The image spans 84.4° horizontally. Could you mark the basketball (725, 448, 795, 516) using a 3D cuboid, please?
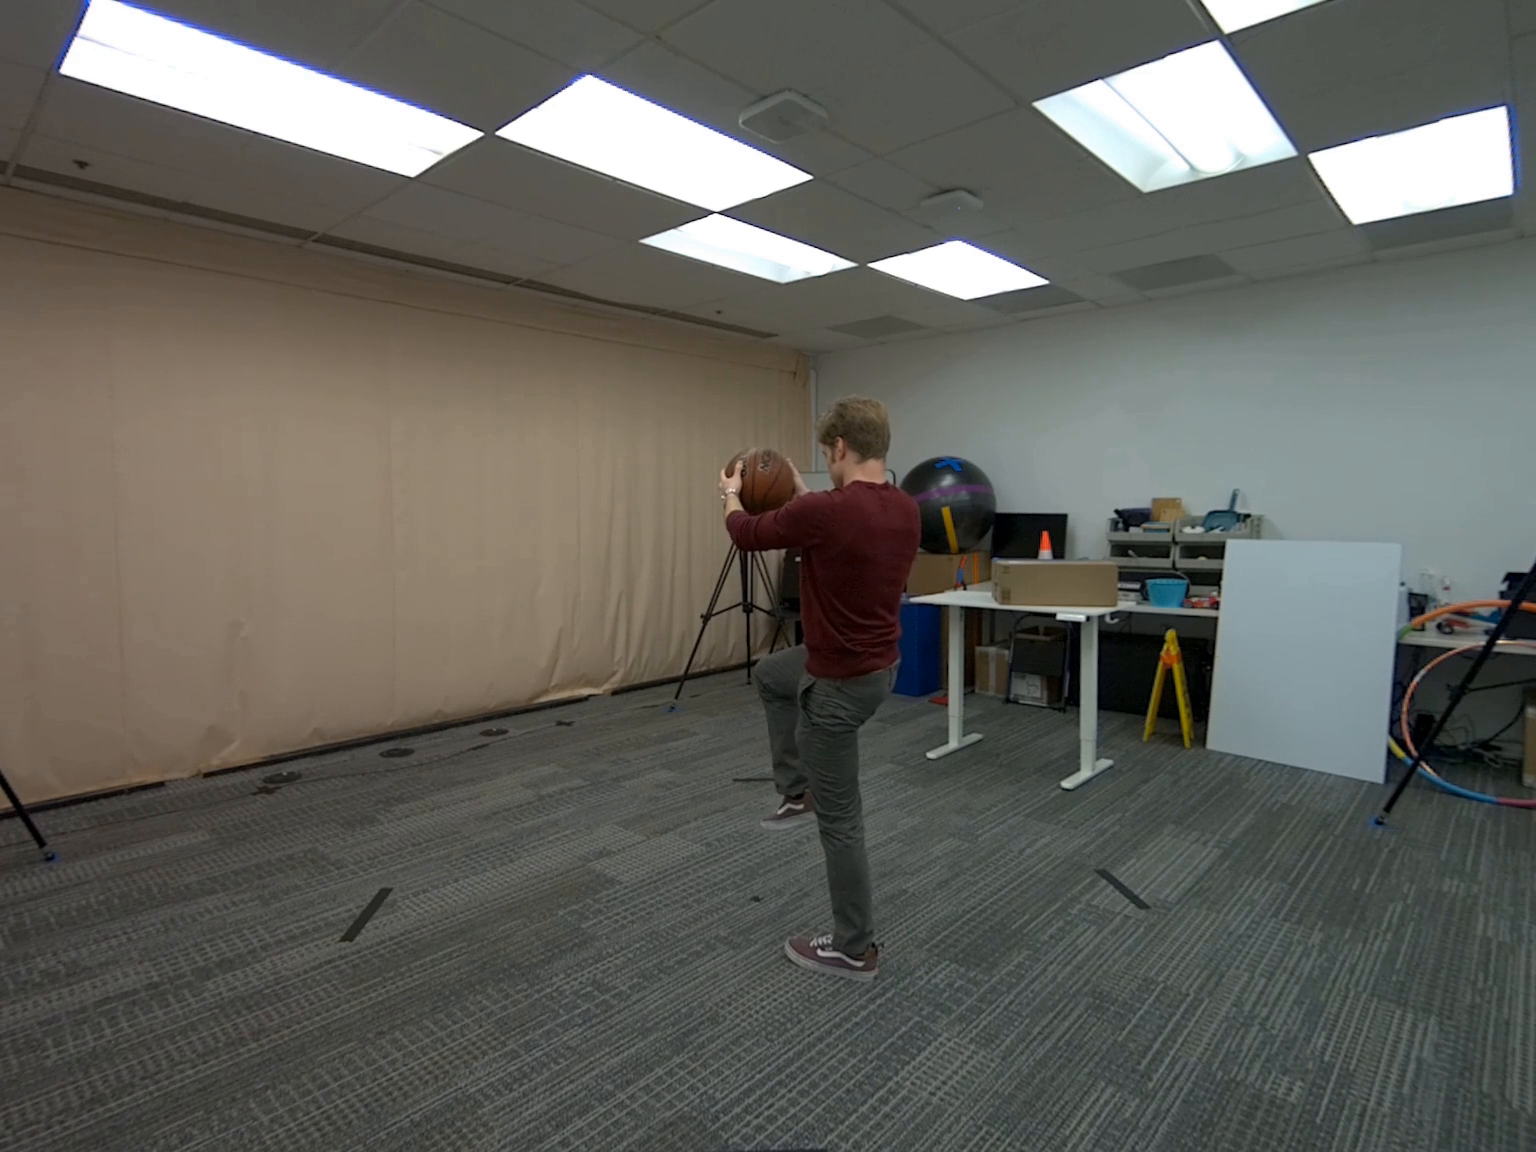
[{"bbox_3d":[-0.029,-0.319,2.858,0.236,0.235,0.237,0,4,-2],"label":"basketball"}]
